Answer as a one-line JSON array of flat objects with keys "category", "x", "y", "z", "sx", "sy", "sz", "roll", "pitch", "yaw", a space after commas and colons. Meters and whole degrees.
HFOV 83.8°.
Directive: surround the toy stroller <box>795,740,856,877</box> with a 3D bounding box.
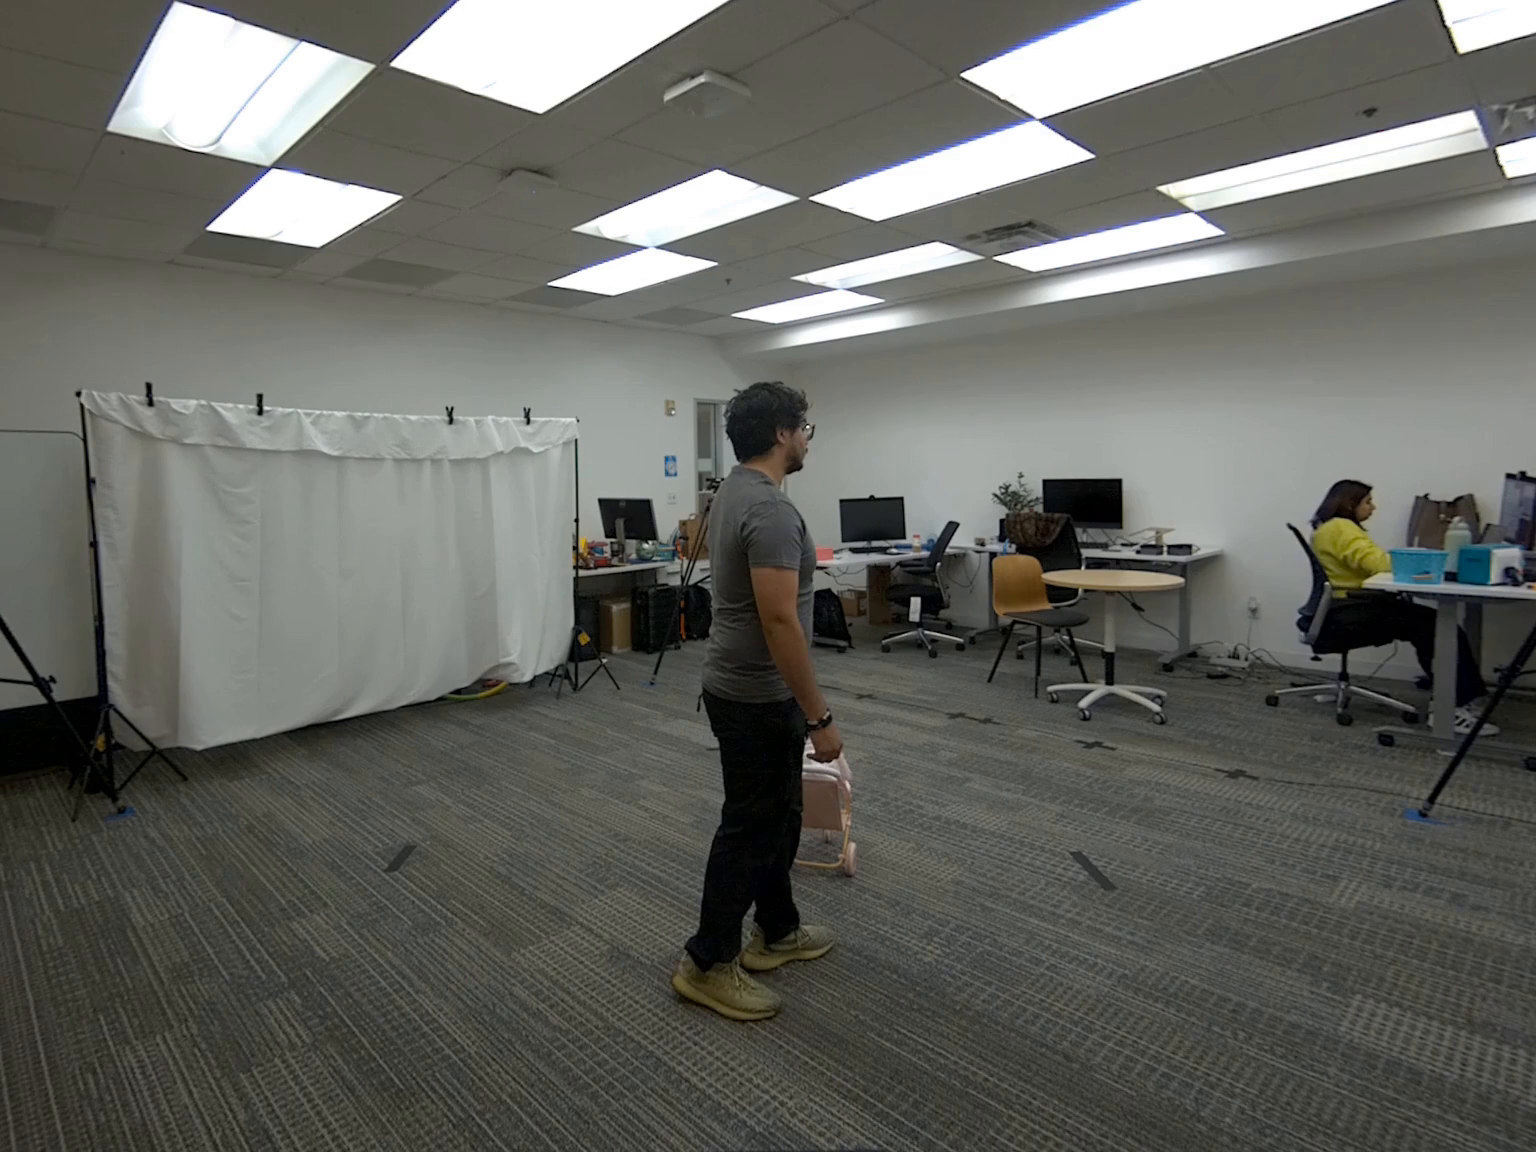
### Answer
[{"category": "toy stroller", "x": 0.194, "y": 0.821, "z": 3.087, "sx": 0.287, "sy": 0.525, "sz": 0.341, "roll": 1, "pitch": 20, "yaw": 19}]
